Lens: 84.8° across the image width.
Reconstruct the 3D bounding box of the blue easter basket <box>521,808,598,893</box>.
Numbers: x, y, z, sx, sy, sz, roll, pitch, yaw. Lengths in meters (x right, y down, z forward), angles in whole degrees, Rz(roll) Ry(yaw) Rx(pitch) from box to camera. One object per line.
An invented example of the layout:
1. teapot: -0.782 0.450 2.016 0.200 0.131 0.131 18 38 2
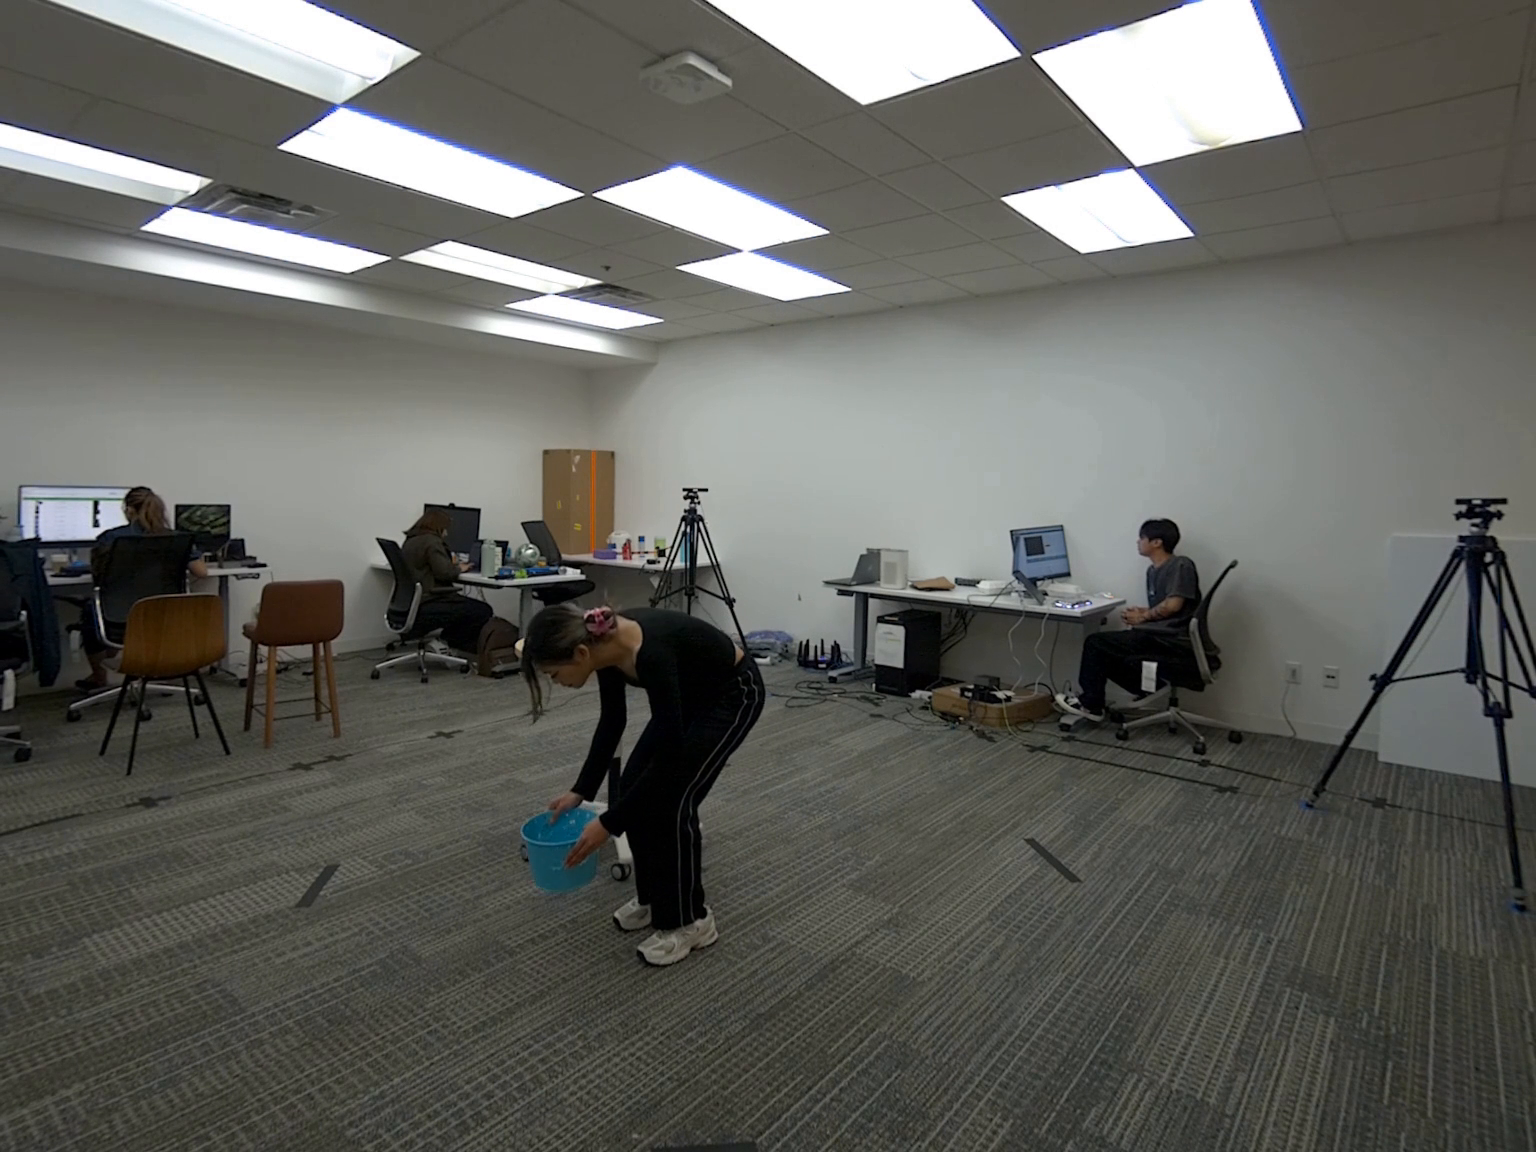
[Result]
1. blue easter basket: -0.591 0.785 2.456 0.243 0.155 0.245 -1 8 -2
